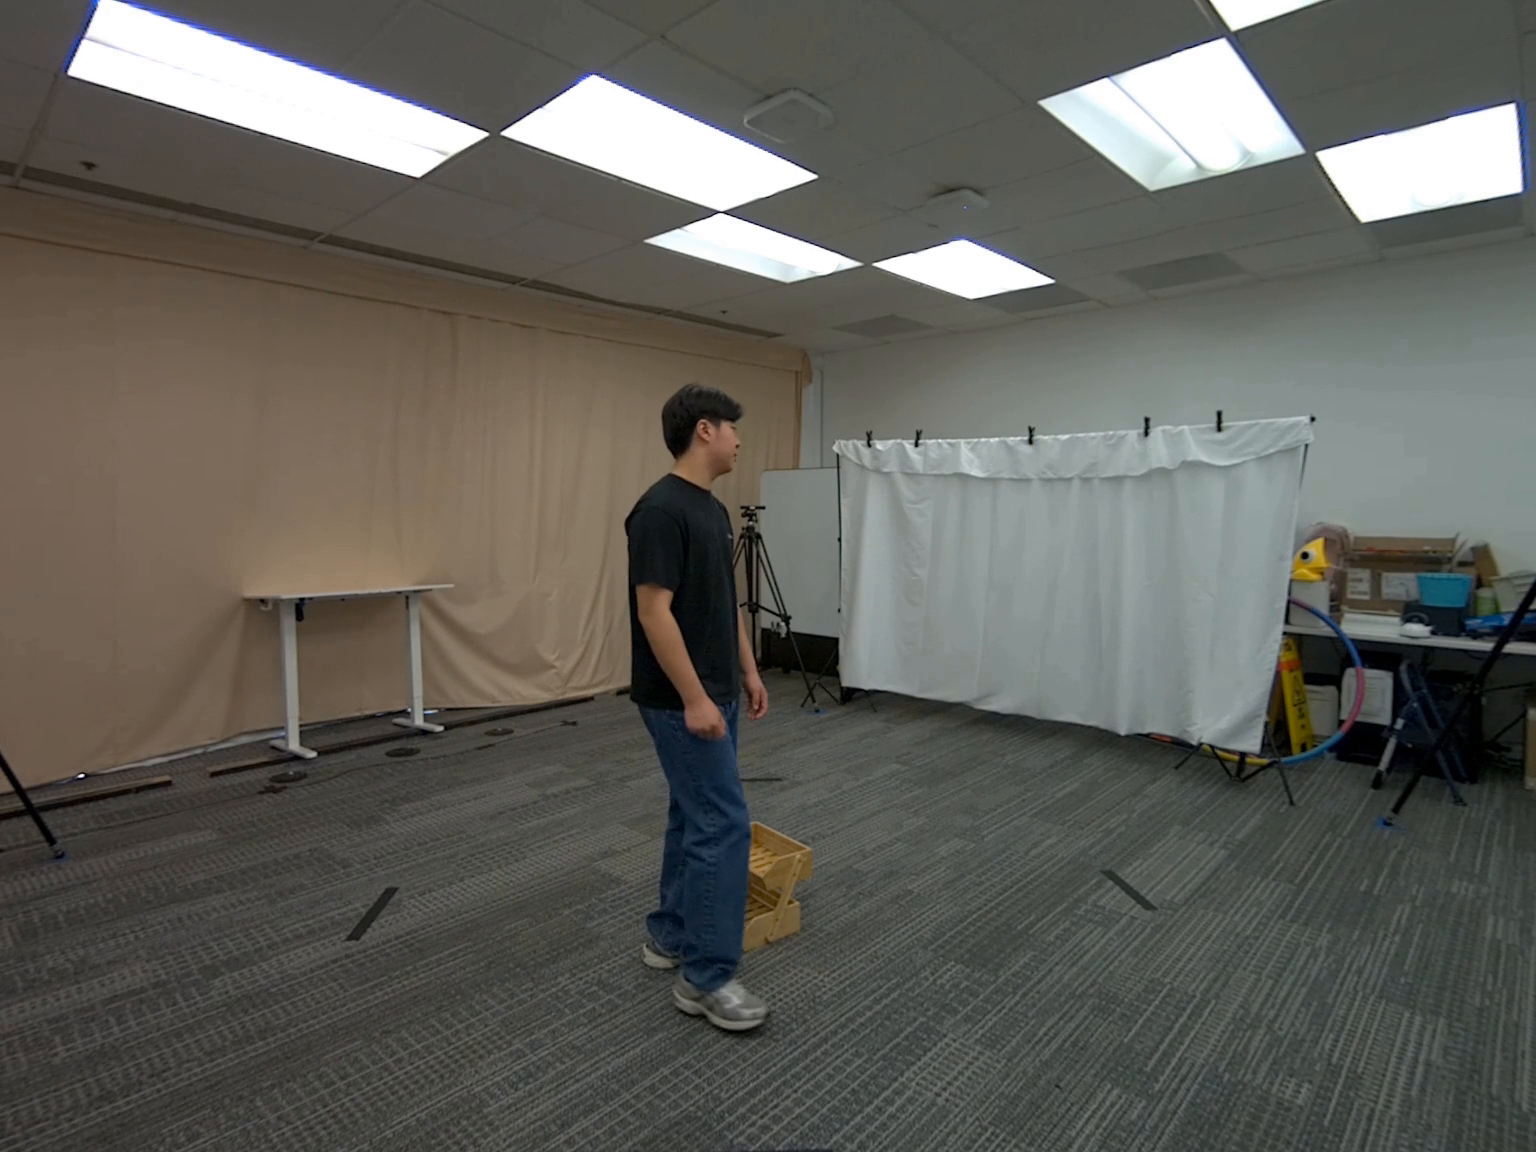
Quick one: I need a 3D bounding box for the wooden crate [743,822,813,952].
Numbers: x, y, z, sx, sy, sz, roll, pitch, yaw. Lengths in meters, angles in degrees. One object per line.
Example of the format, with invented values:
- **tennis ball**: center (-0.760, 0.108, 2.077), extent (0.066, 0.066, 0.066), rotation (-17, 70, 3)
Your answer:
- **wooden crate**: center (-0.062, 1.025, 2.816), extent (0.293, 0.273, 0.335), rotation (-2, 5, -38)
